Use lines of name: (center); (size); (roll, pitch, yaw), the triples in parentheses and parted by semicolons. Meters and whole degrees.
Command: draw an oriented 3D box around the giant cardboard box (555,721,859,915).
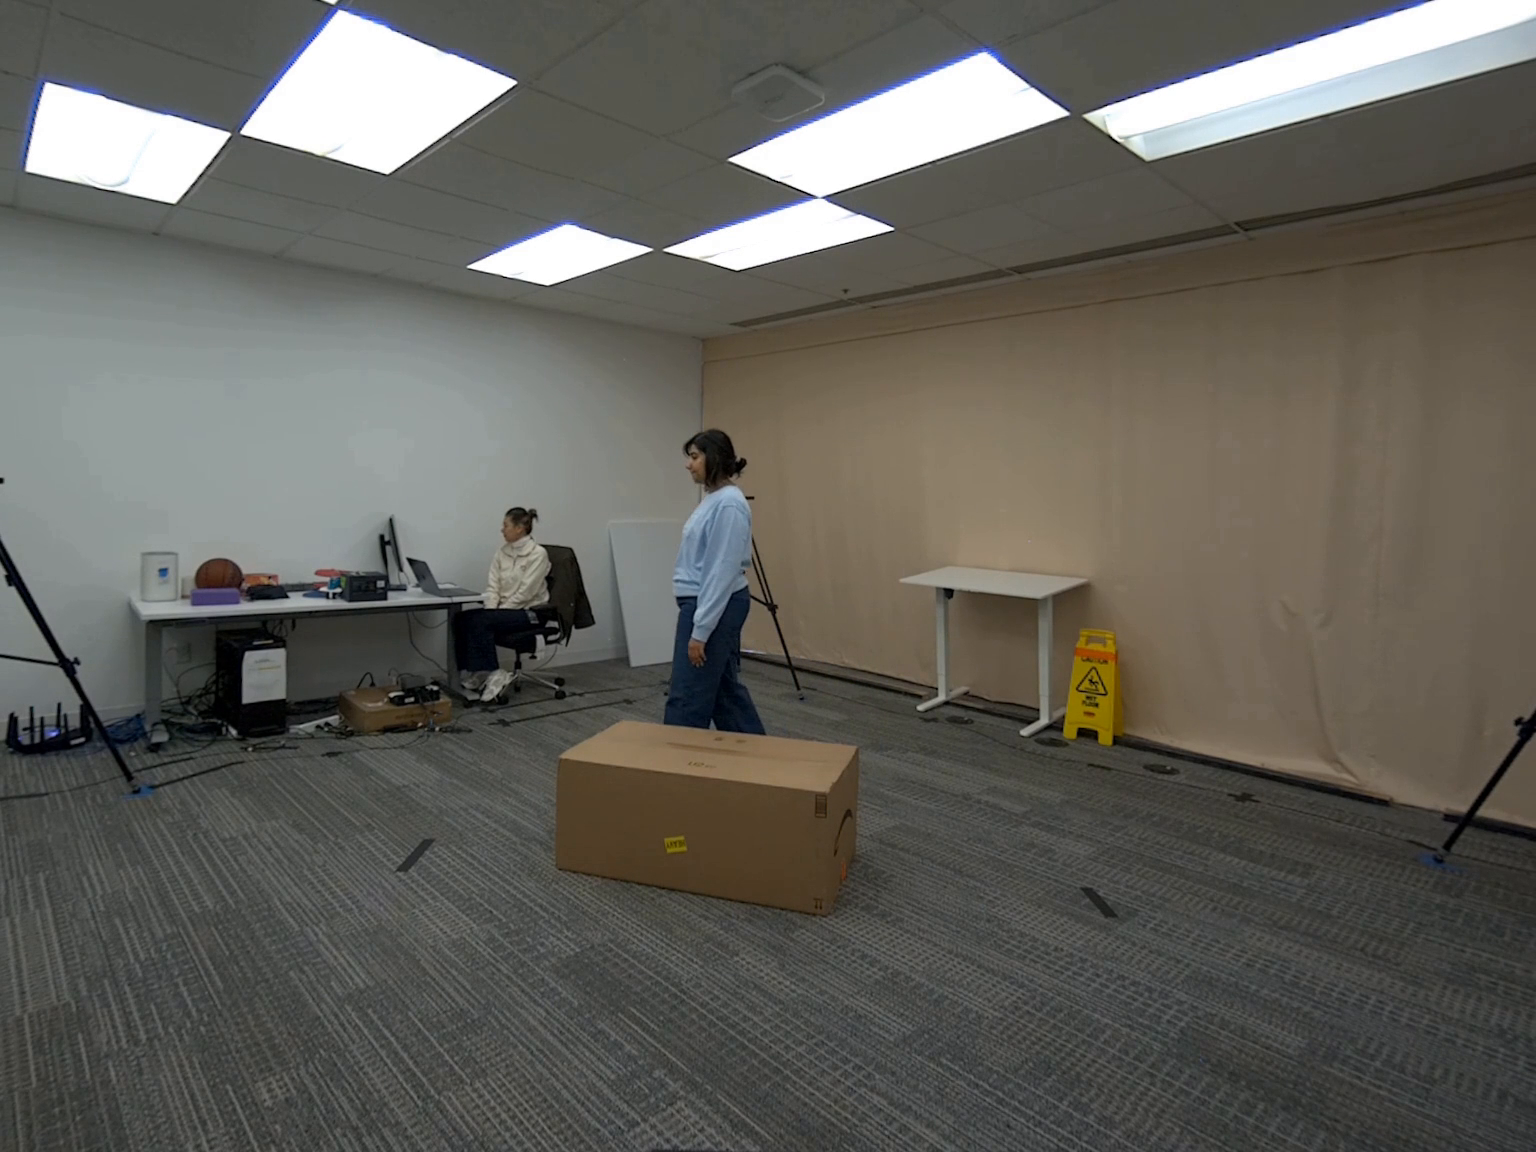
giant cardboard box: (-0.217, 0.876, 3.215); (1.041, 0.425, 0.571); (3, 4, 17)
